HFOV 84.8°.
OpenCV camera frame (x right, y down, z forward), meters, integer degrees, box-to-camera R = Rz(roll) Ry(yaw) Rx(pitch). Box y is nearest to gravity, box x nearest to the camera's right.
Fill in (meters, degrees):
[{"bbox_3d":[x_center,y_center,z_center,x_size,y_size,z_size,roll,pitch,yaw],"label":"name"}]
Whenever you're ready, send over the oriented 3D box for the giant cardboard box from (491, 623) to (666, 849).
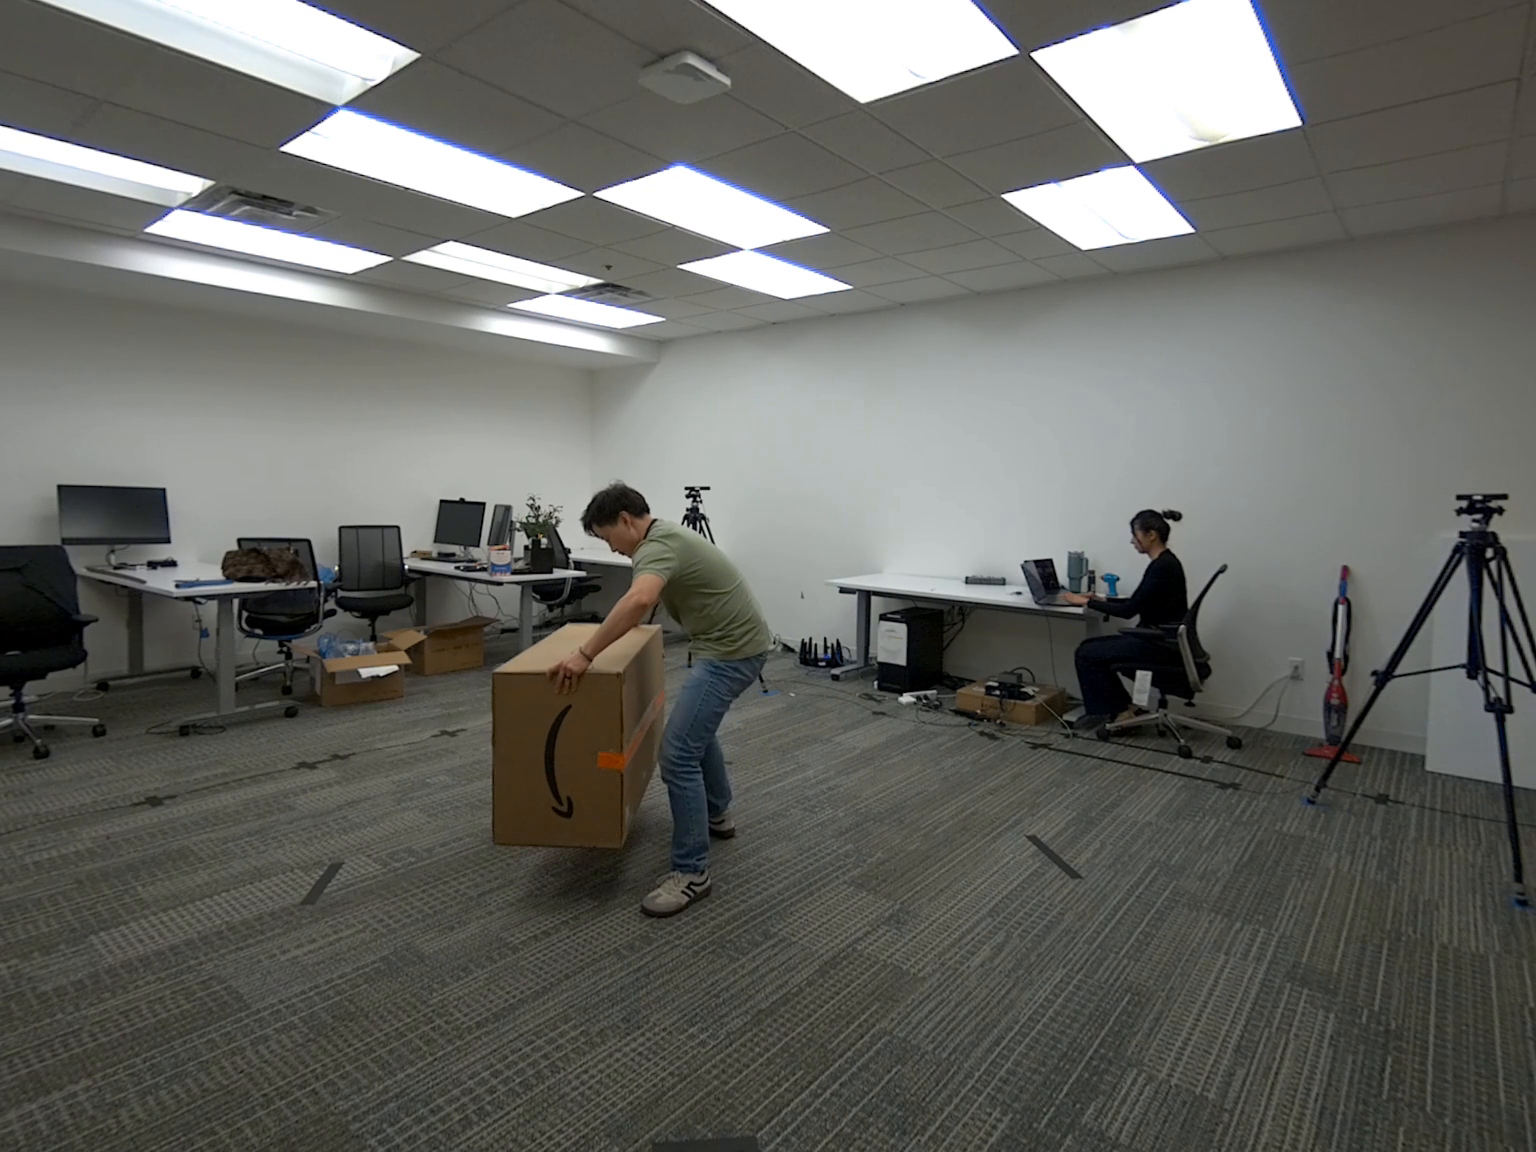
[{"bbox_3d":[-0.689,0.546,3.229,0.427,0.575,1.028,1,5,0],"label":"giant cardboard box"}]
